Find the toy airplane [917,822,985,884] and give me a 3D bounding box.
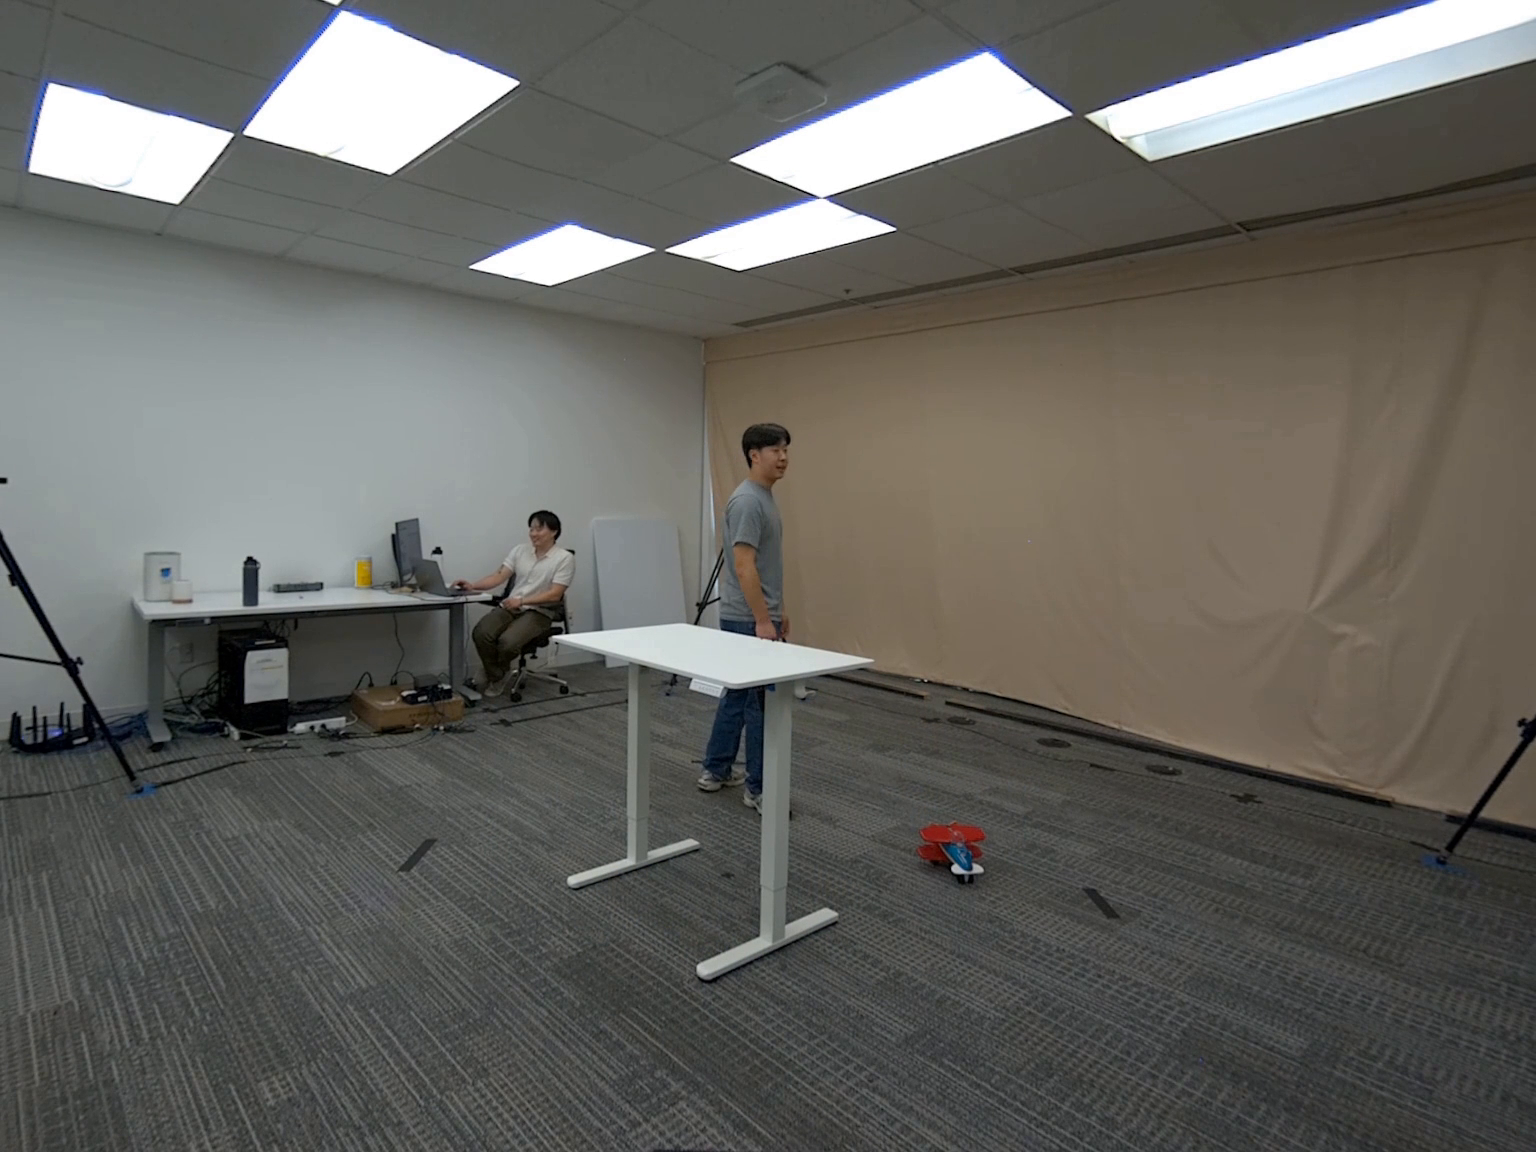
[{"bbox_3d":[0.720,1.048,3.187,0.245,0.156,0.266,-2,5,-40],"label":"toy airplane"}]
